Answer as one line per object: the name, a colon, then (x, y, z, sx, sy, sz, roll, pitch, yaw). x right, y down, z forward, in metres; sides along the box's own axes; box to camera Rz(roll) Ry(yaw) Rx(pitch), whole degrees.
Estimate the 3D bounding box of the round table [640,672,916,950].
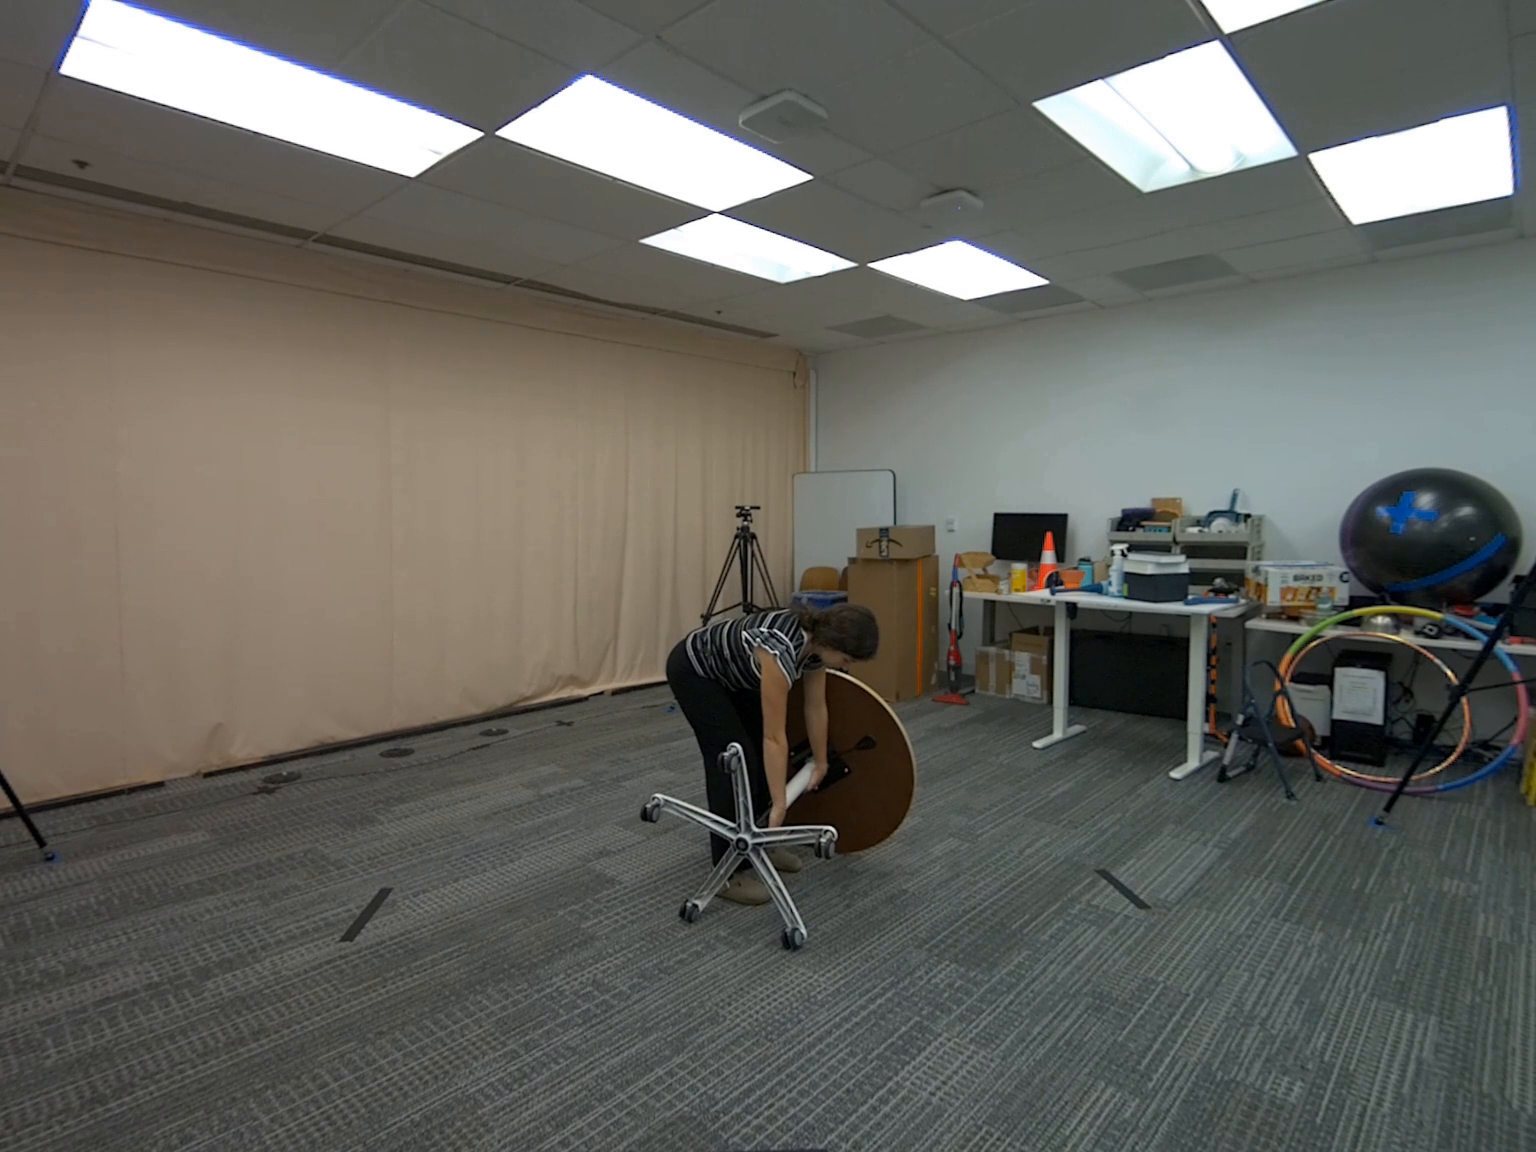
round table: (0.049, 0.813, 3.013, 0.785, 0.758, 0.778, 2, 12, 28)
